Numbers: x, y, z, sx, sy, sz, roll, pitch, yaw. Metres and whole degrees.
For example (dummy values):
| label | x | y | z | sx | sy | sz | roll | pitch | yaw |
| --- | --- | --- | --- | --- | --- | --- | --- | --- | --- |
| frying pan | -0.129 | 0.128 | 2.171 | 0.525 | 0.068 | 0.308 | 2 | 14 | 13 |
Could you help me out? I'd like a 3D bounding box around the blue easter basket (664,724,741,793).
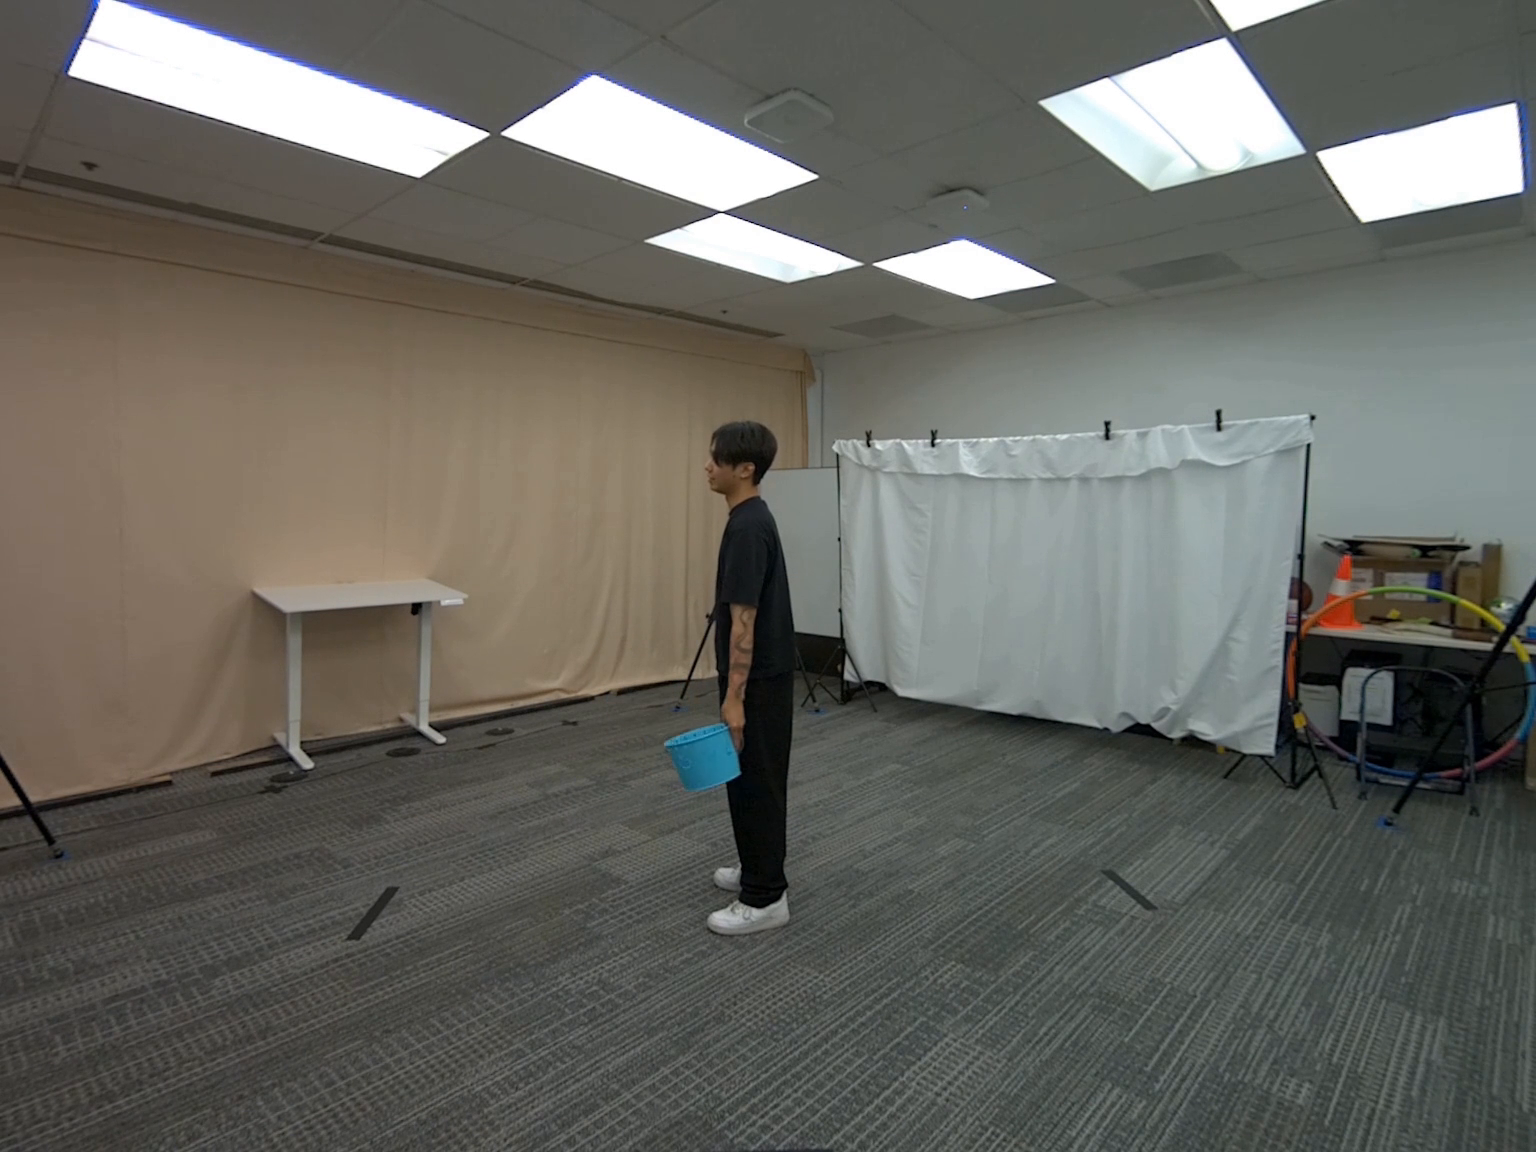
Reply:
| label | x | y | z | sx | sy | sz | roll | pitch | yaw |
| --- | --- | --- | --- | --- | --- | --- | --- | --- | --- |
| blue easter basket | -0.192 | 0.545 | 2.613 | 0.243 | 0.156 | 0.243 | -15 | -3 | -3 |
